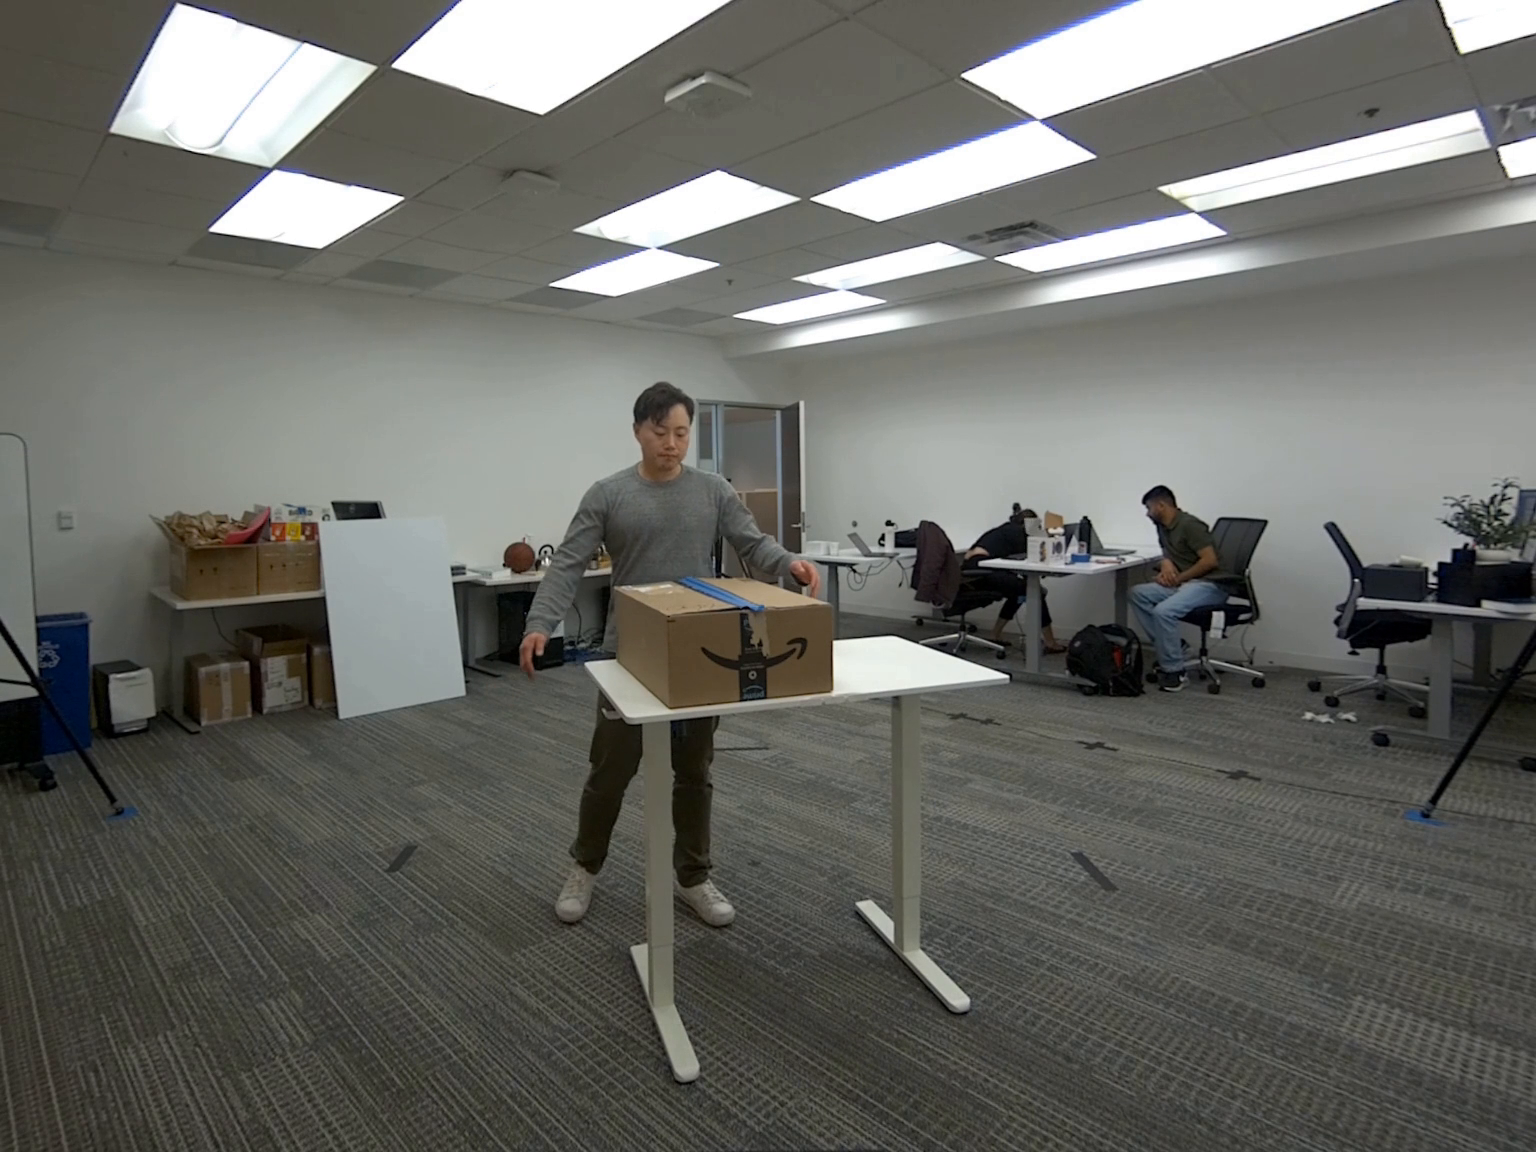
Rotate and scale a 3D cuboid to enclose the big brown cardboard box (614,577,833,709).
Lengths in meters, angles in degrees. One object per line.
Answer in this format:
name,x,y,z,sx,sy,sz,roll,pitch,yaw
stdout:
big brown cardboard box,-0.137,0.155,2.257,0.409,0.232,0.604,-3,7,-23
